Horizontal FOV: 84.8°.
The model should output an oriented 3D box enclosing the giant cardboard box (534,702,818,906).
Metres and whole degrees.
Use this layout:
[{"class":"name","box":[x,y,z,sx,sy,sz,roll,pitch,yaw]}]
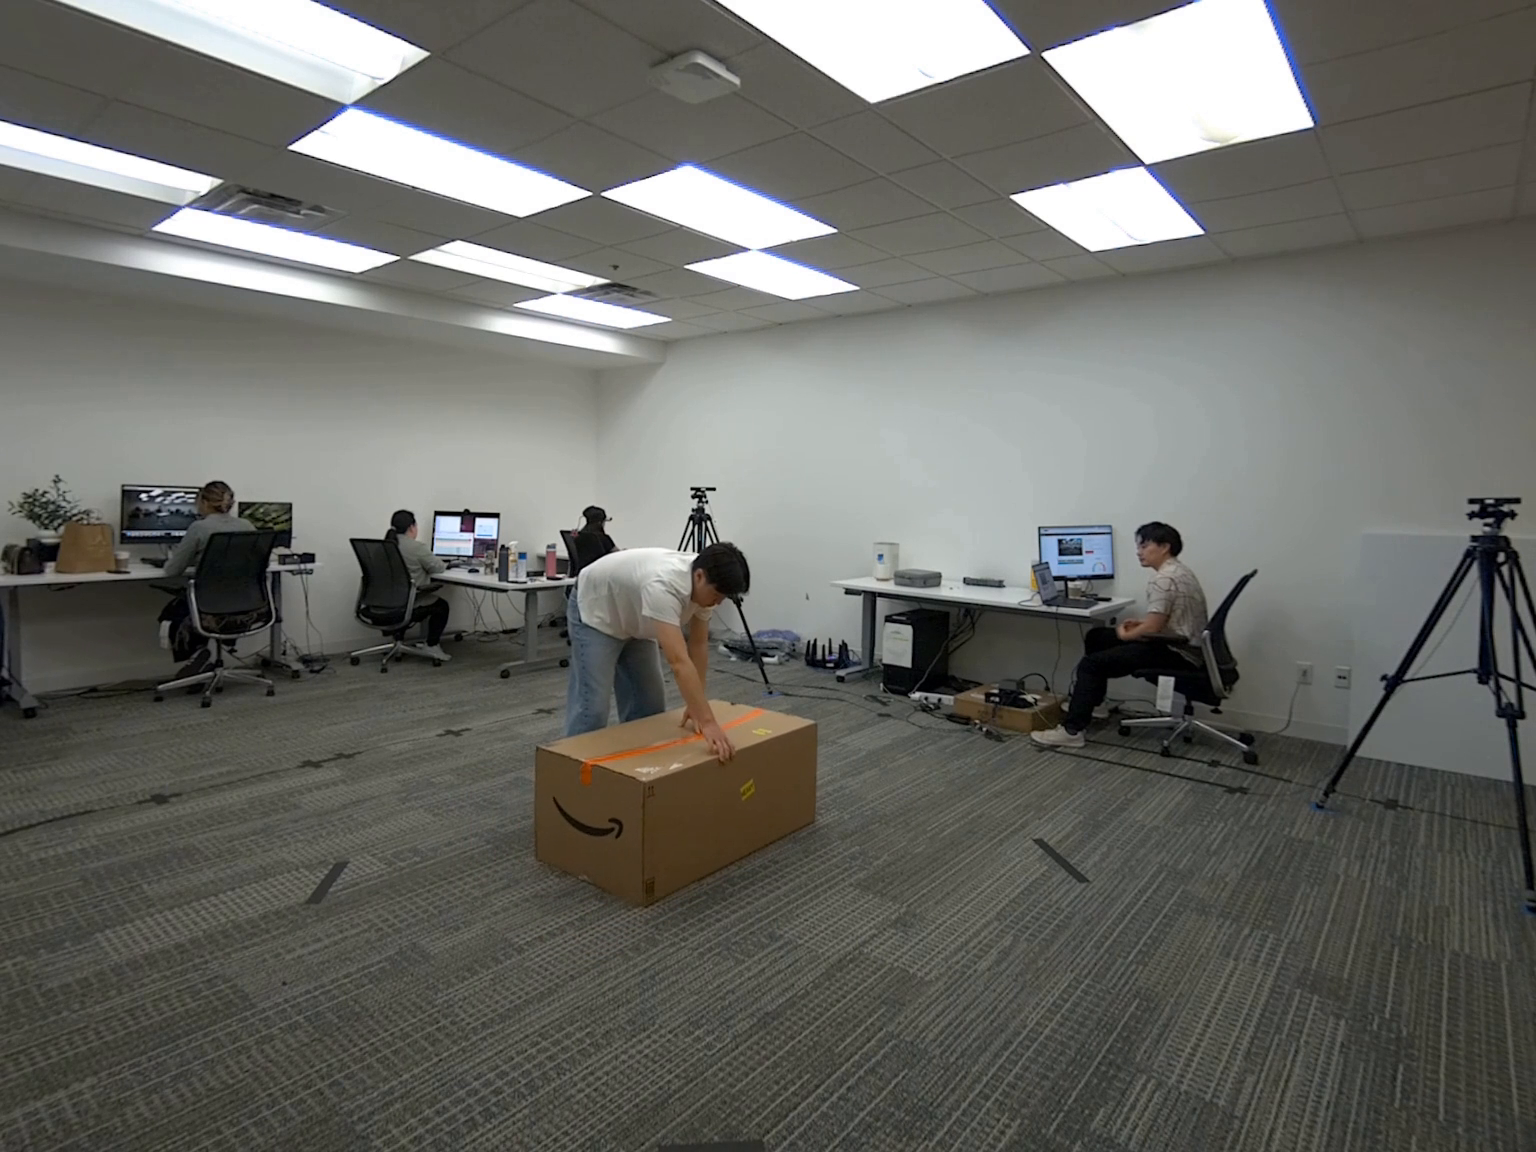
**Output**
[{"class":"giant cardboard box","box":[-0.341,0.829,3.351,0.597,0.425,0.996,5,6,38]}]
